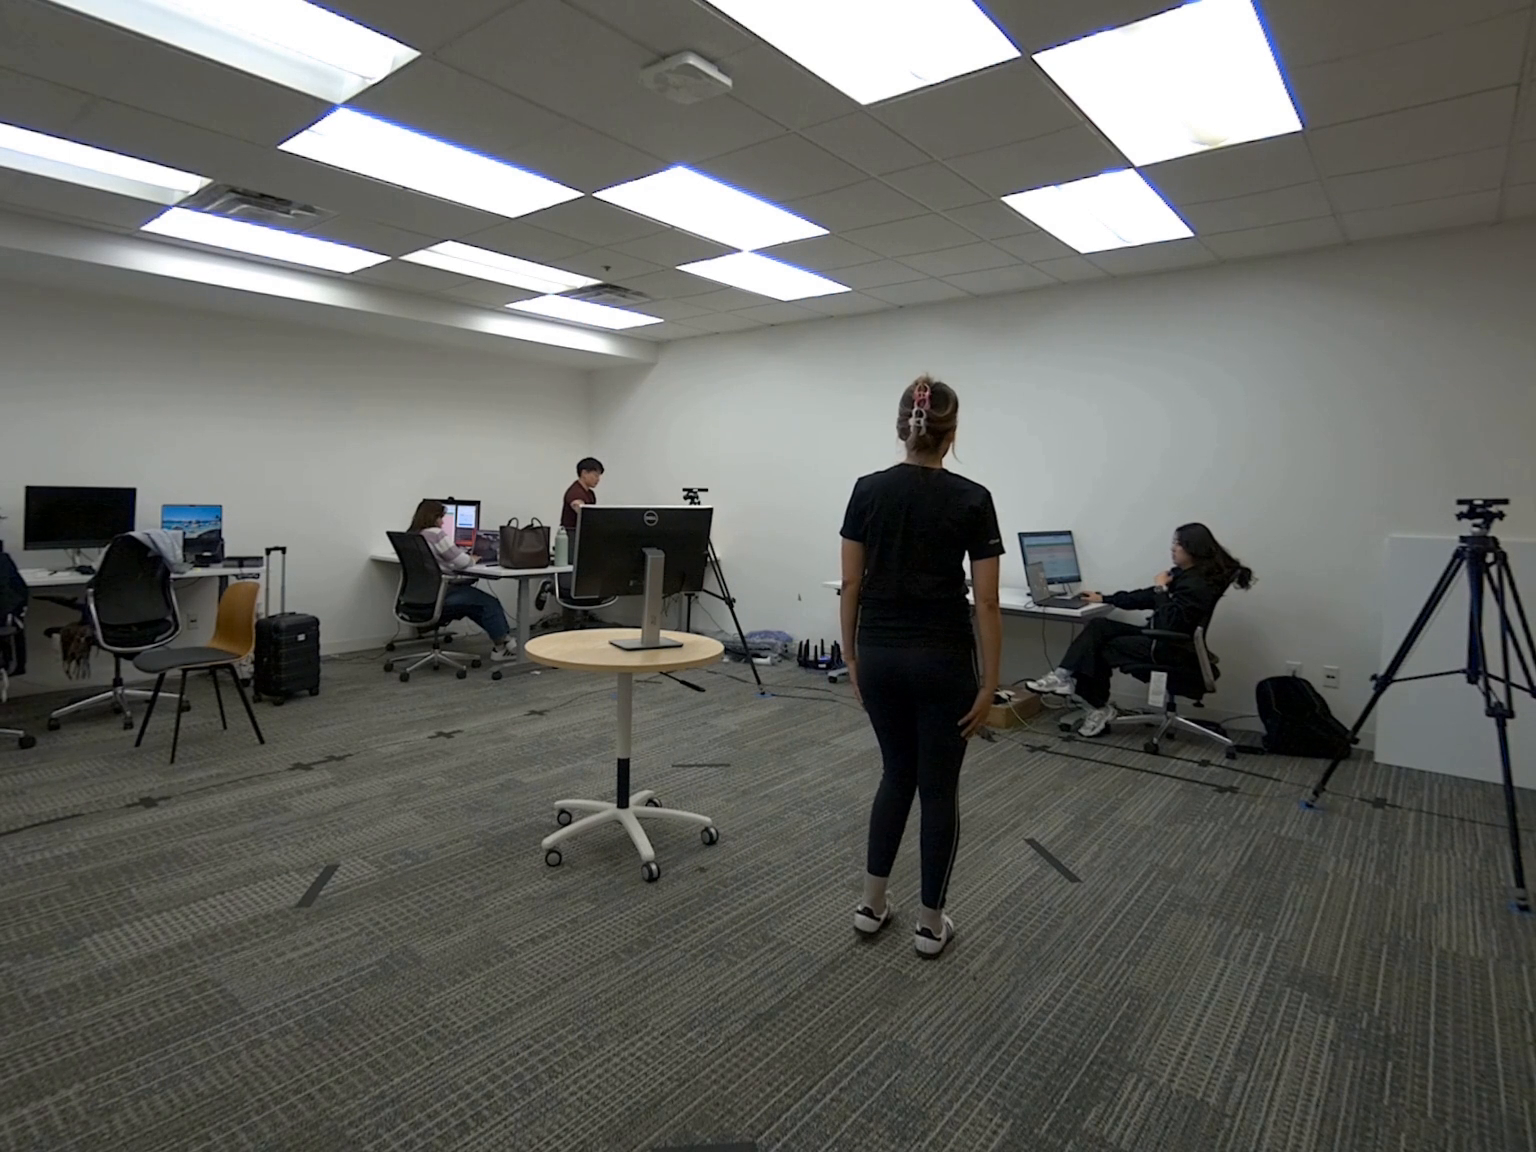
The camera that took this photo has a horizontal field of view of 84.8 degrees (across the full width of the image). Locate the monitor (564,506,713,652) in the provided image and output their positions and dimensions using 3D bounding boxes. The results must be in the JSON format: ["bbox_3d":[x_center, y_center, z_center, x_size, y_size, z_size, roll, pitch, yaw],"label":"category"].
[{"bbox_3d":[-0.476,0.002,3.298,0.524,0.521,0.193,-1,4,-31],"label":"monitor"}]
